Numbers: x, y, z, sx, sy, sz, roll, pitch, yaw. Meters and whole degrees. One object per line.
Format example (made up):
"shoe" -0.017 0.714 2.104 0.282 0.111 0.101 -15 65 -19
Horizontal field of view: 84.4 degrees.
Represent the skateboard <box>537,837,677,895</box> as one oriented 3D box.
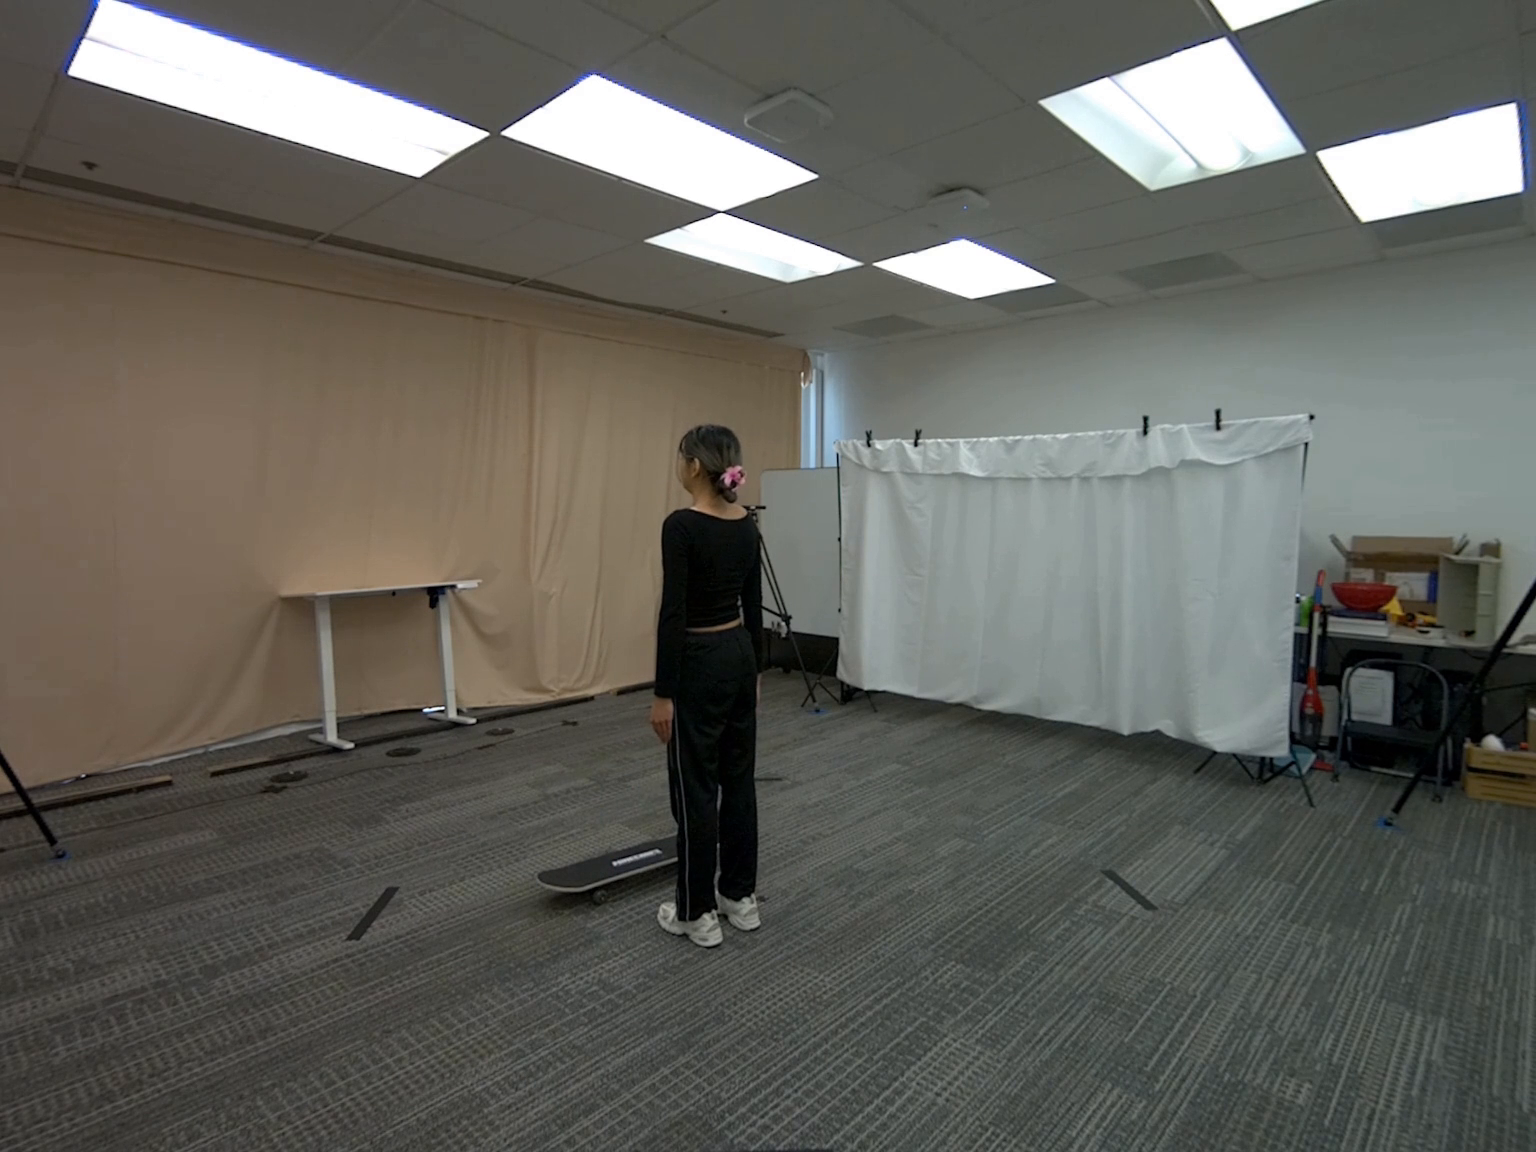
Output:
"skateboard" -0.493 1.080 3.130 0.762 0.110 0.199 -4 5 -37
